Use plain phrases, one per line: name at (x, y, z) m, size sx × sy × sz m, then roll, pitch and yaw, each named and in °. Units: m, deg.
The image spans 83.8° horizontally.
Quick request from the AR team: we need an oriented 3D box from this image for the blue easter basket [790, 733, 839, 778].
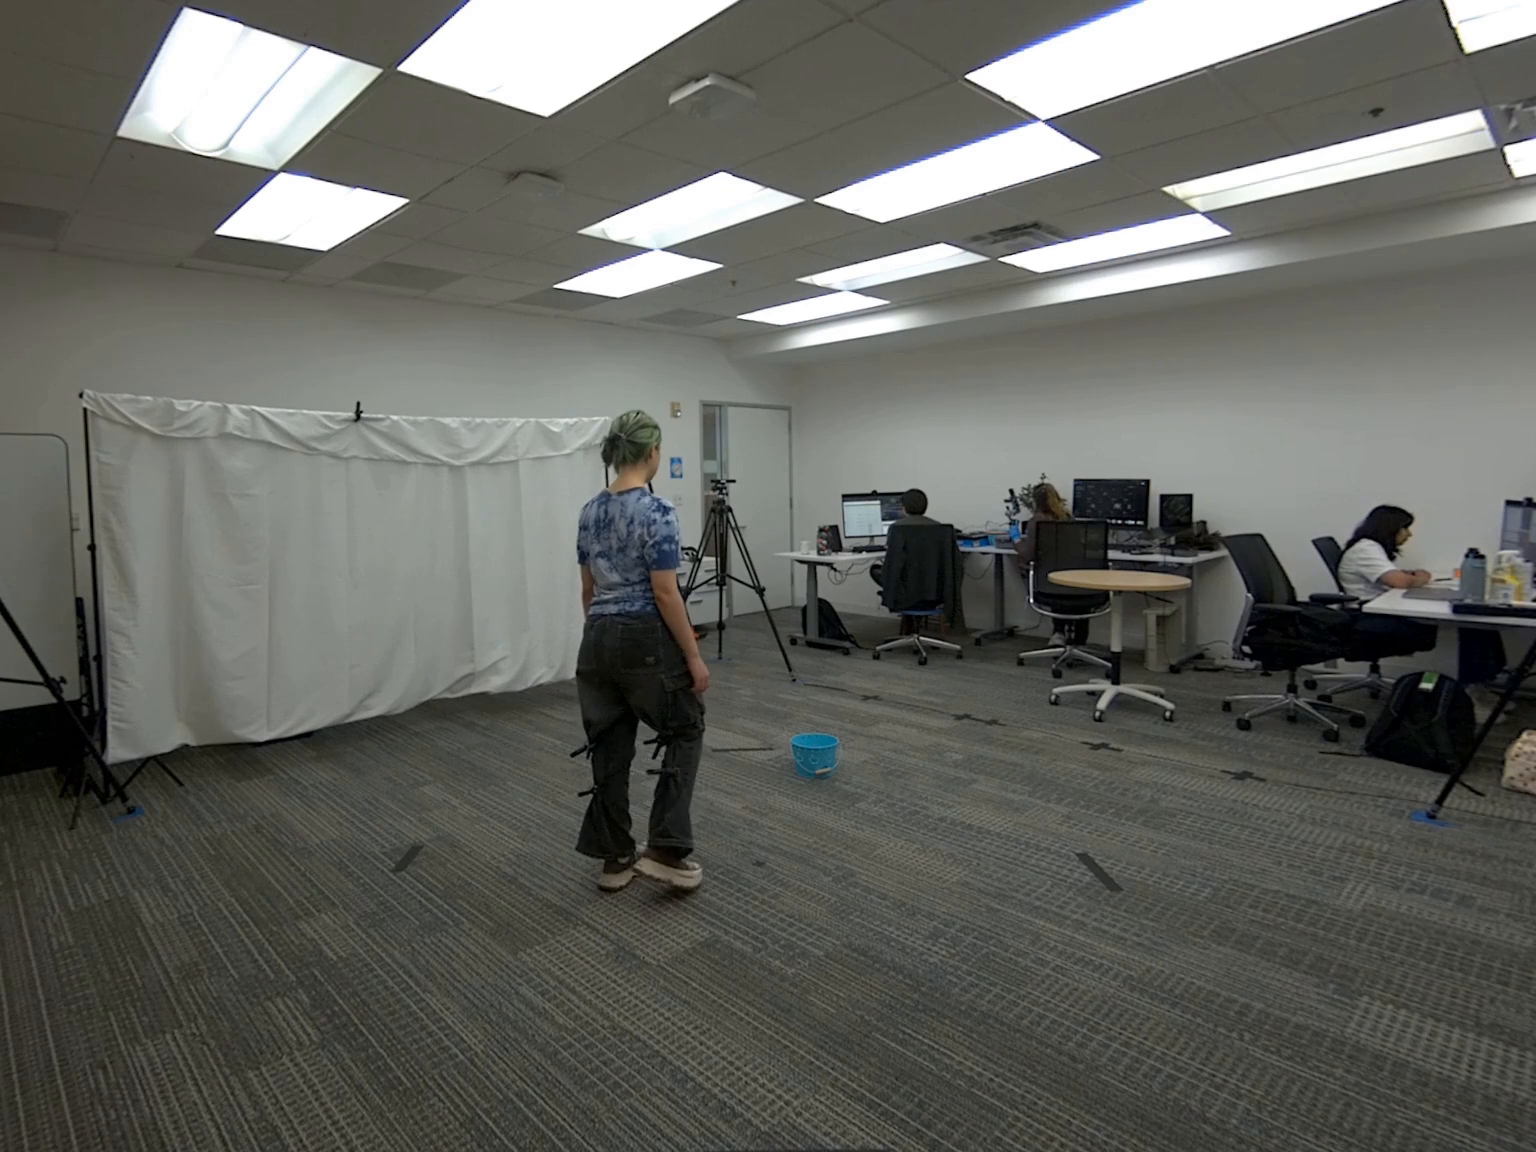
blue easter basket at (0.220, 0.859, 4.078) m, size 0.243 × 0.155 × 0.245 m, roll -1°, pitch 5°, yaw -2°
